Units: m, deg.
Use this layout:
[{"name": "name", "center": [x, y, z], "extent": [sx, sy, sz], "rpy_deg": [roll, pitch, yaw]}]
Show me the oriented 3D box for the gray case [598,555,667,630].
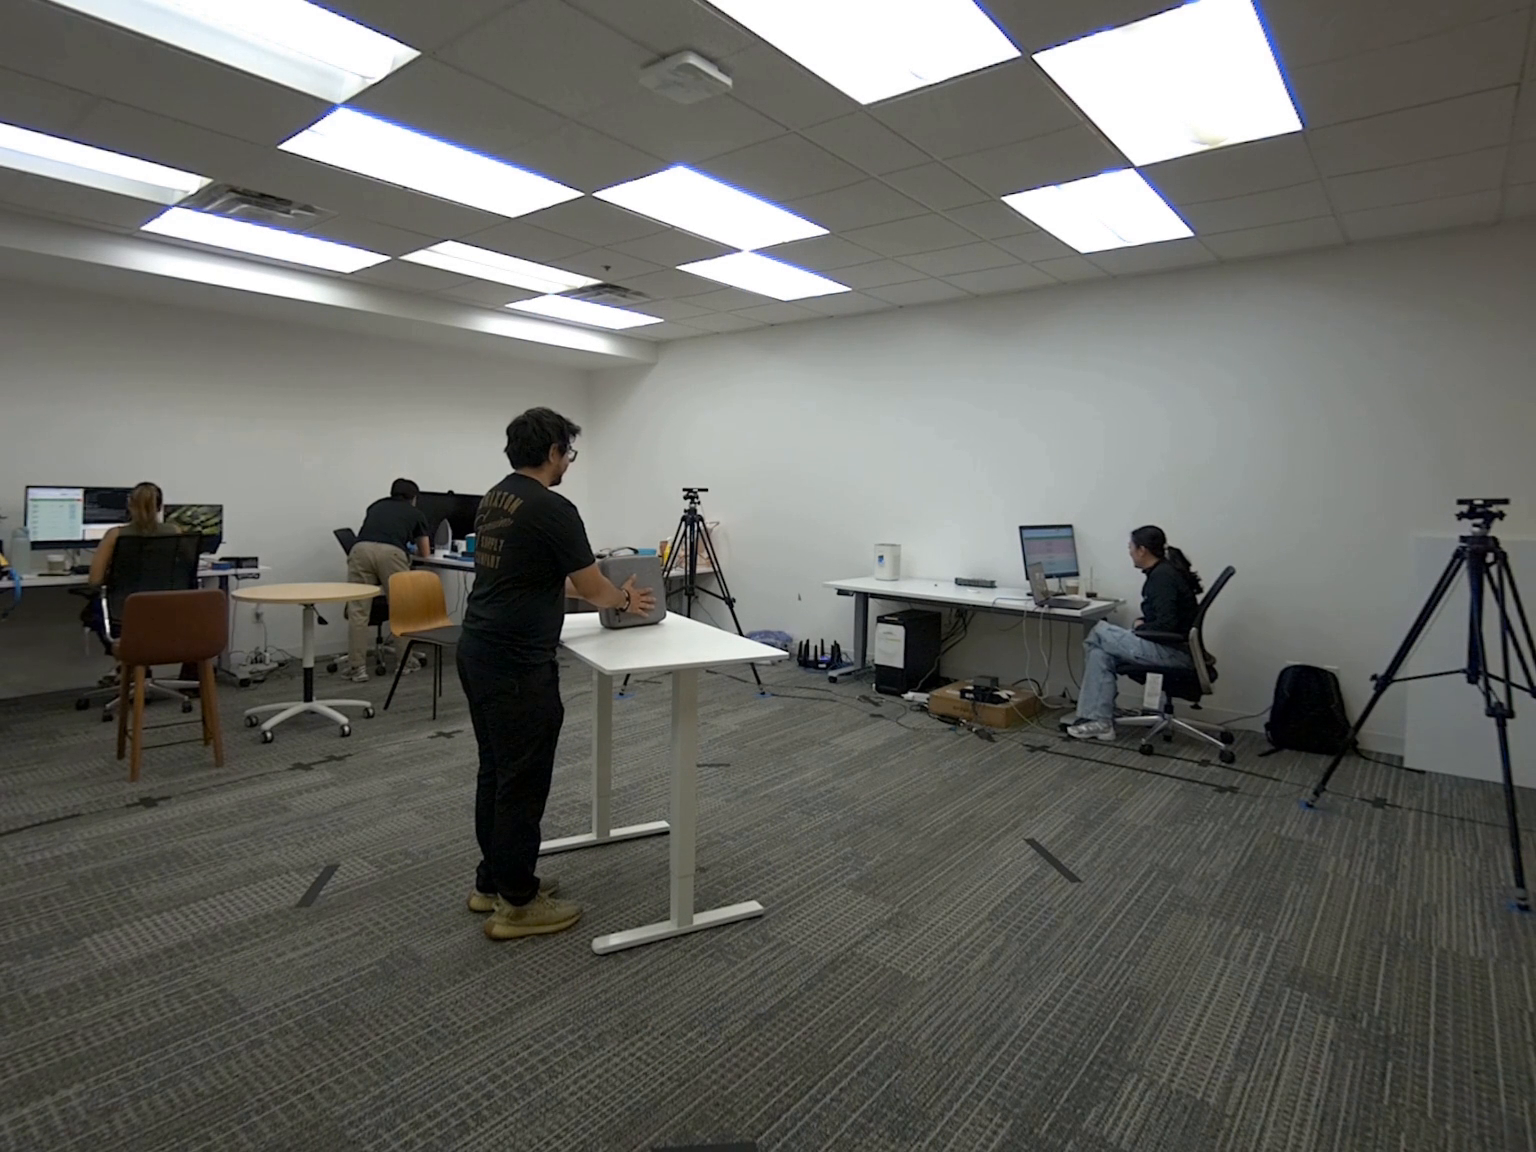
[{"name": "gray case", "center": [-0.516, 0.049, 3.119], "extent": [0.249, 0.262, 0.107], "rpy_deg": [-5, -5, -41]}]
